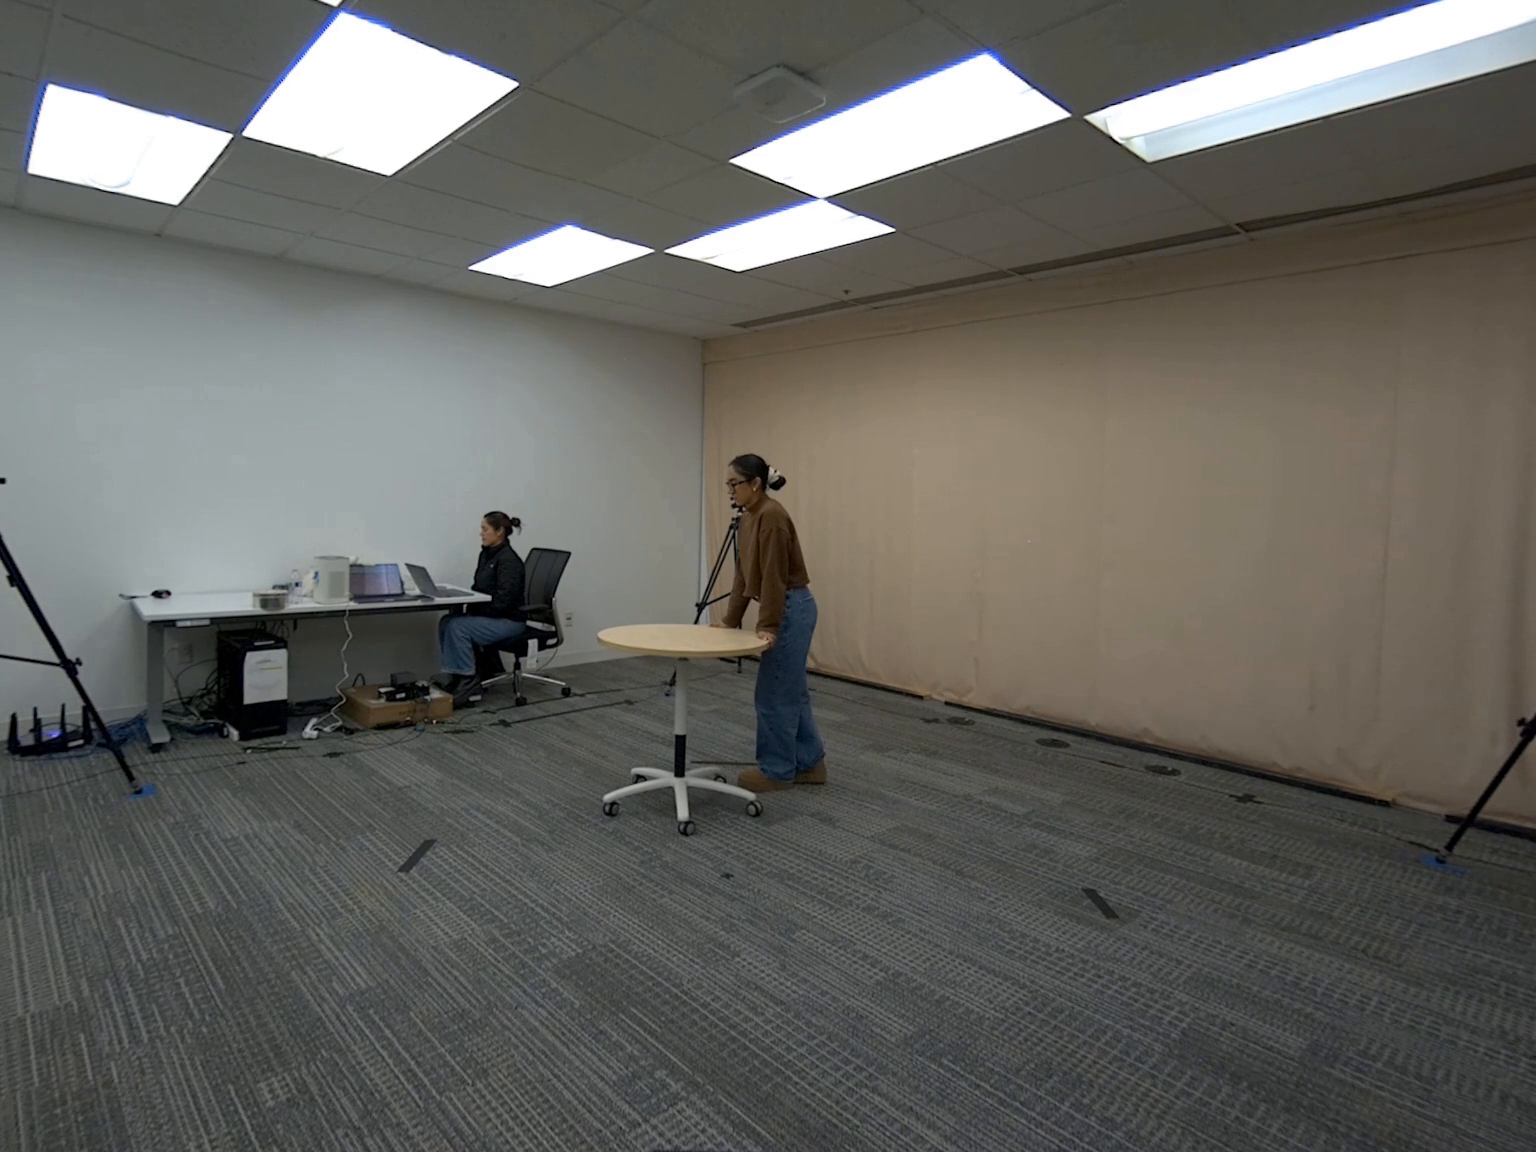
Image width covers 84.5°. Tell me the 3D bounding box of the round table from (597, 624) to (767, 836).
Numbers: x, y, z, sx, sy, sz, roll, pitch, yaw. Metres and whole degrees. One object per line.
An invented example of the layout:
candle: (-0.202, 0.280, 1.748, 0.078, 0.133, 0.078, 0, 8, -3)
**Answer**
round table: (-0.398, 0.658, 3.780, 0.763, 0.792, 0.766, 2, 3, -1)
